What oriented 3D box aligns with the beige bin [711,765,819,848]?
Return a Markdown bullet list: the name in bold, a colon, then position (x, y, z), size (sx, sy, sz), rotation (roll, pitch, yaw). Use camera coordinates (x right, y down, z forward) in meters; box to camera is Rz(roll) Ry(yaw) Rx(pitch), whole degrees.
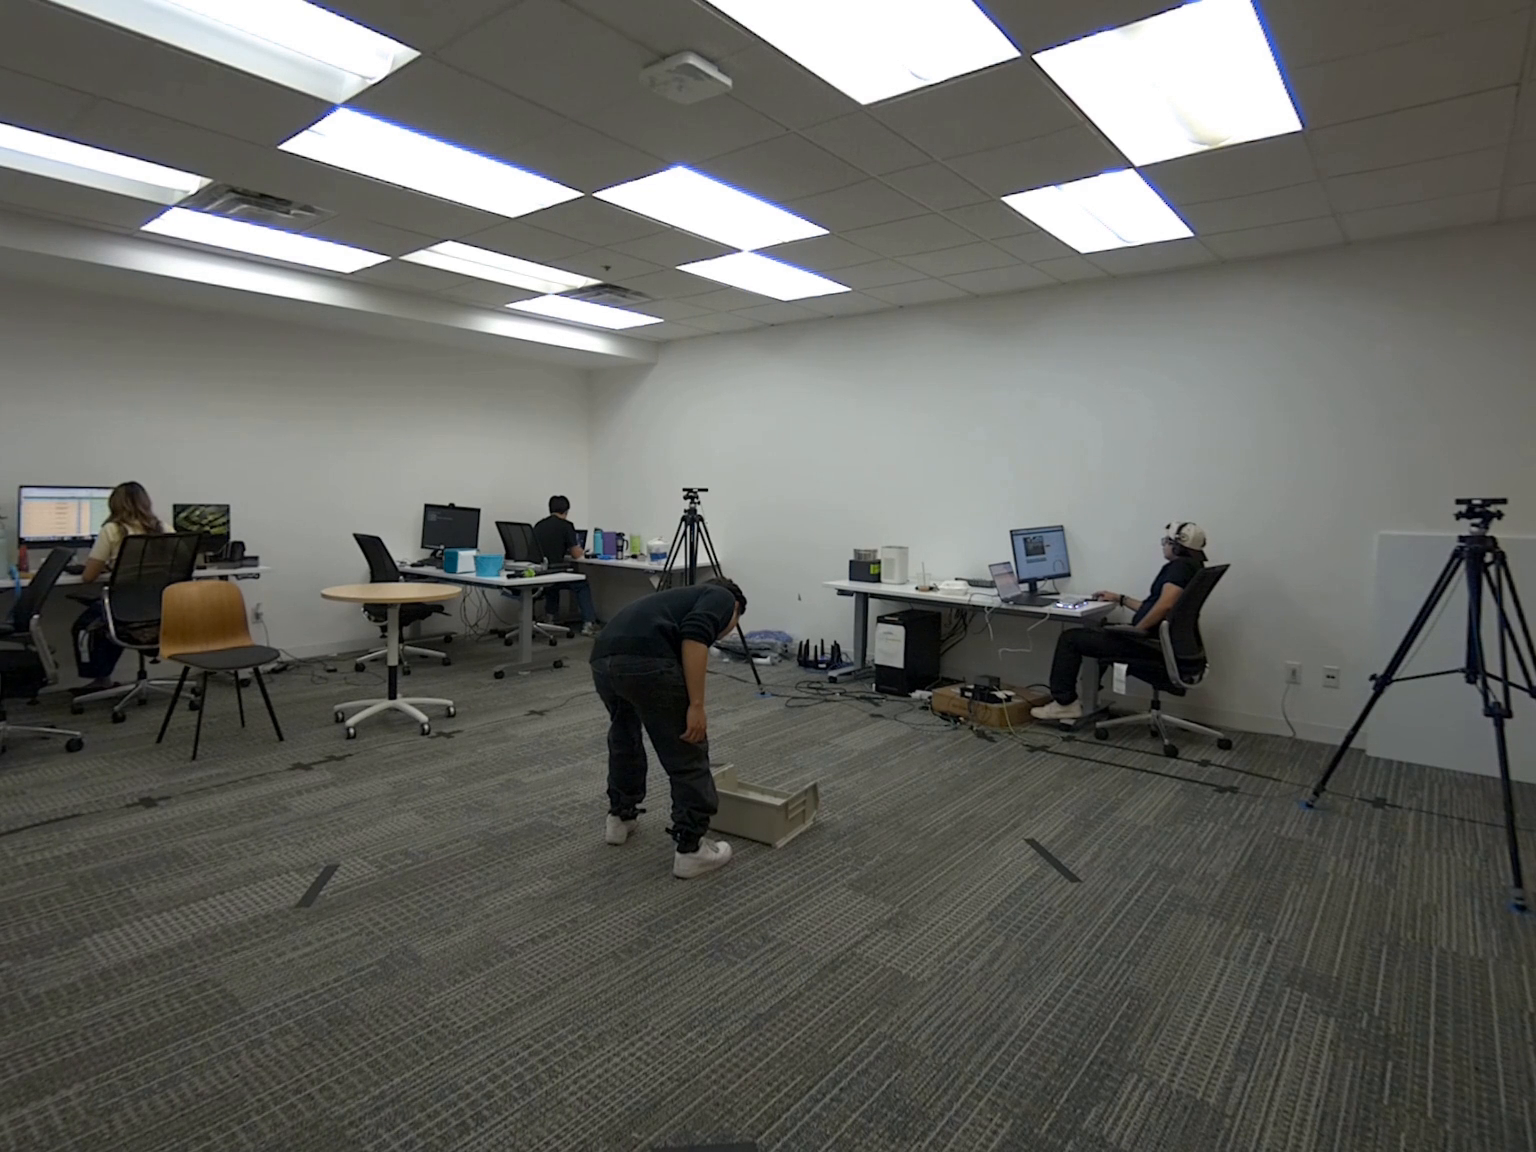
- **beige bin**: position (-0.058, 0.944, 3.557), size (0.435, 0.188, 0.368), rotation (4, 7, 30)
